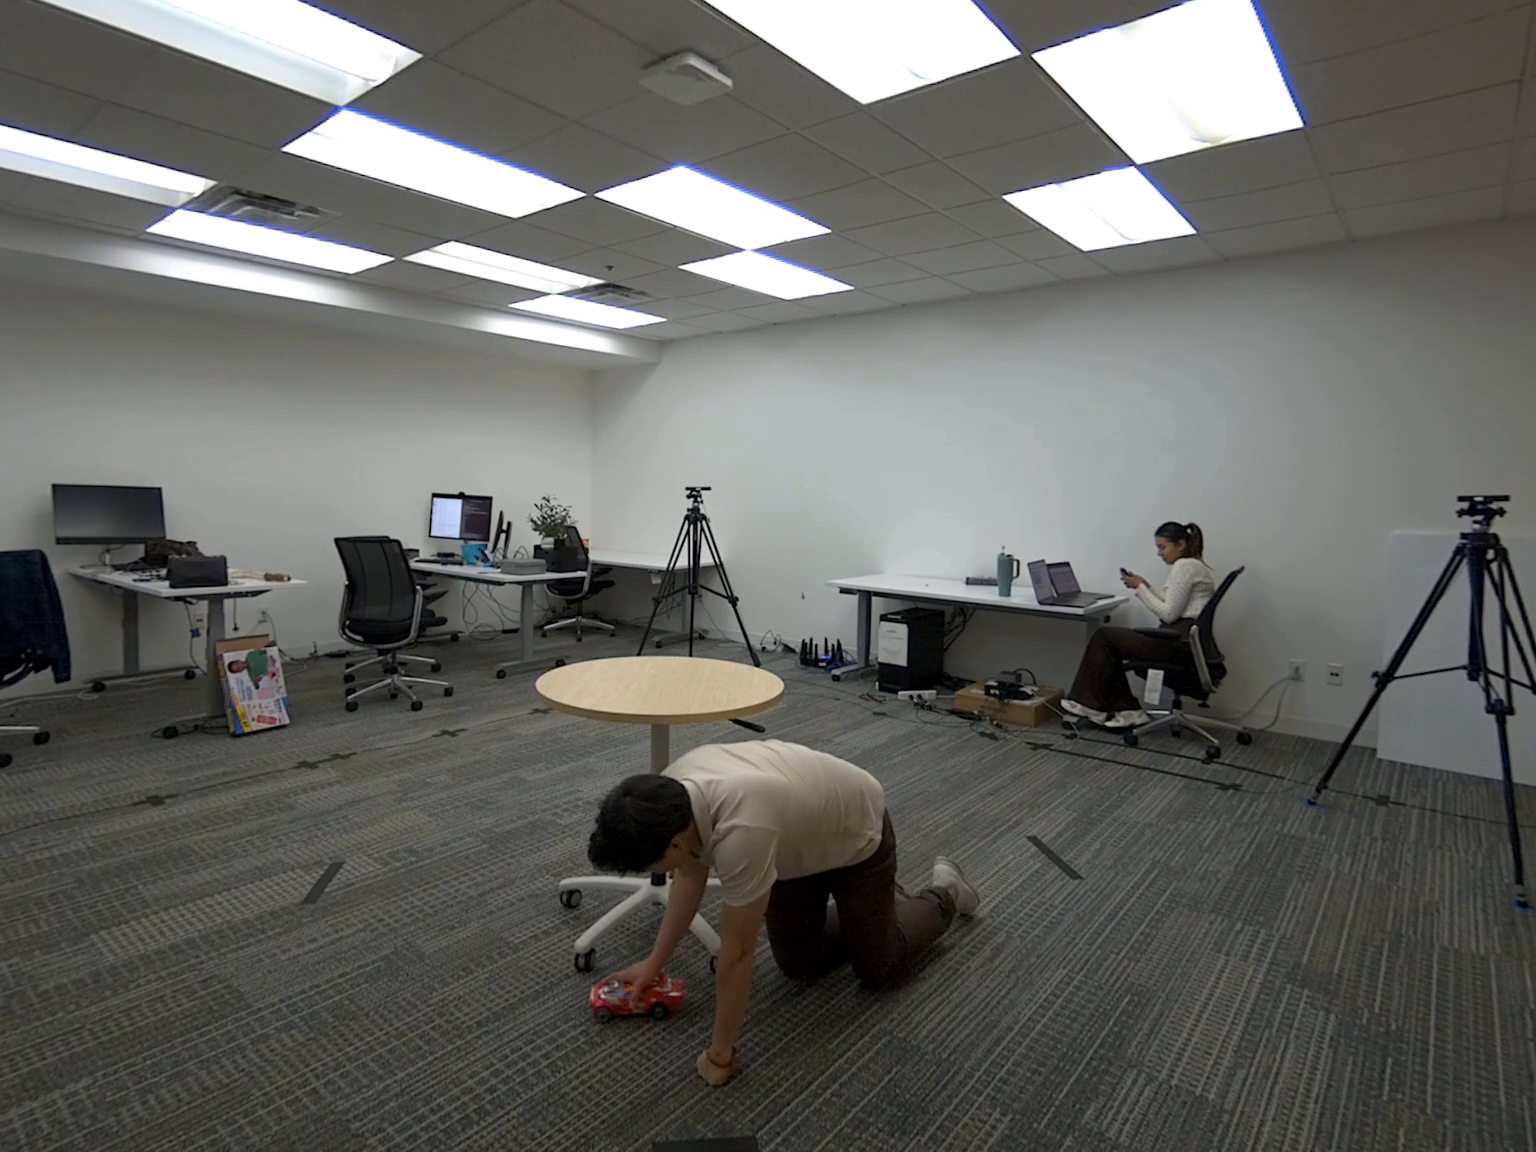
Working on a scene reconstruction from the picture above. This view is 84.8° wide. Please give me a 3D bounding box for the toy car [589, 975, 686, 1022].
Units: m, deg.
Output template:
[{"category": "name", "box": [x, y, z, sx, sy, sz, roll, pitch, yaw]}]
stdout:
[{"category": "toy car", "box": [-0.334, 1.123, 2.266, 0.254, 0.083, 0.131, -11, 5, -2]}]
